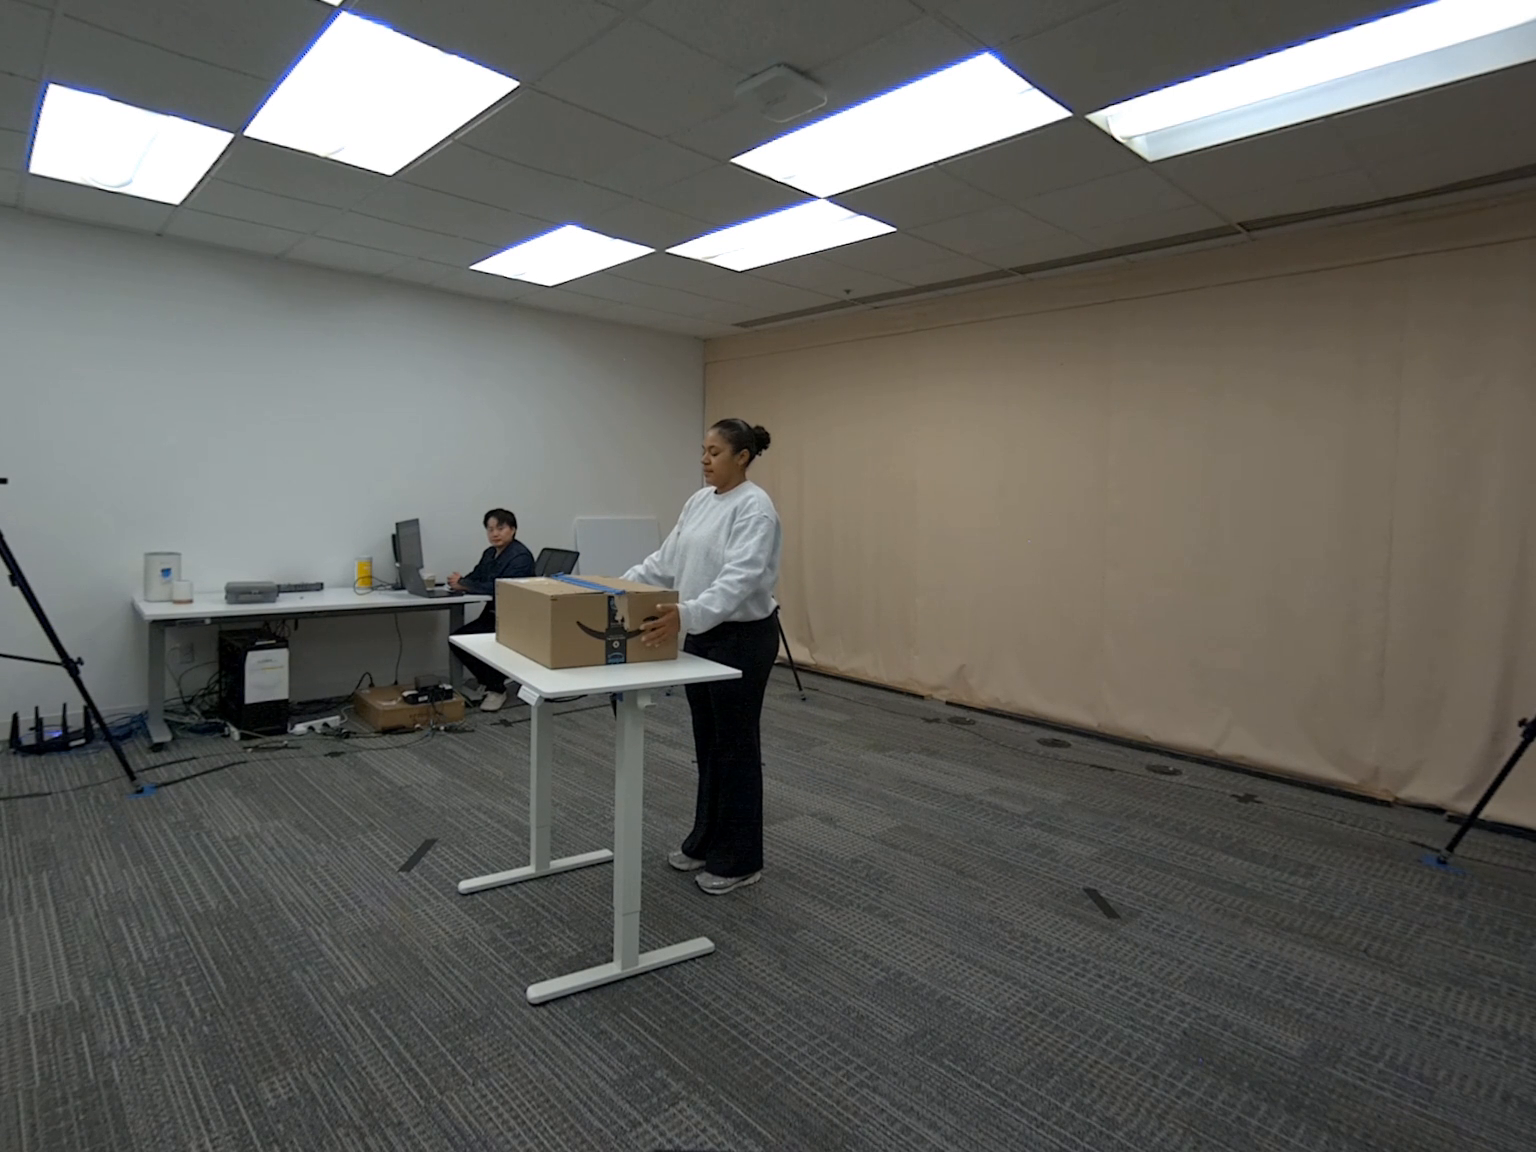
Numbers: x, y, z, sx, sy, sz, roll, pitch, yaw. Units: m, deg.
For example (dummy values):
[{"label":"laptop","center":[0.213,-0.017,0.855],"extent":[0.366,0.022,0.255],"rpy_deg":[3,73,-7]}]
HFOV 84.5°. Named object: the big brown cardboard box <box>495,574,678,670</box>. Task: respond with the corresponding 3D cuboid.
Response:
[{"label":"big brown cardboard box","center":[-0.617,0.136,2.762],"extent":[0.409,0.232,0.603],"rpy_deg":[-1,6,-33]}]
